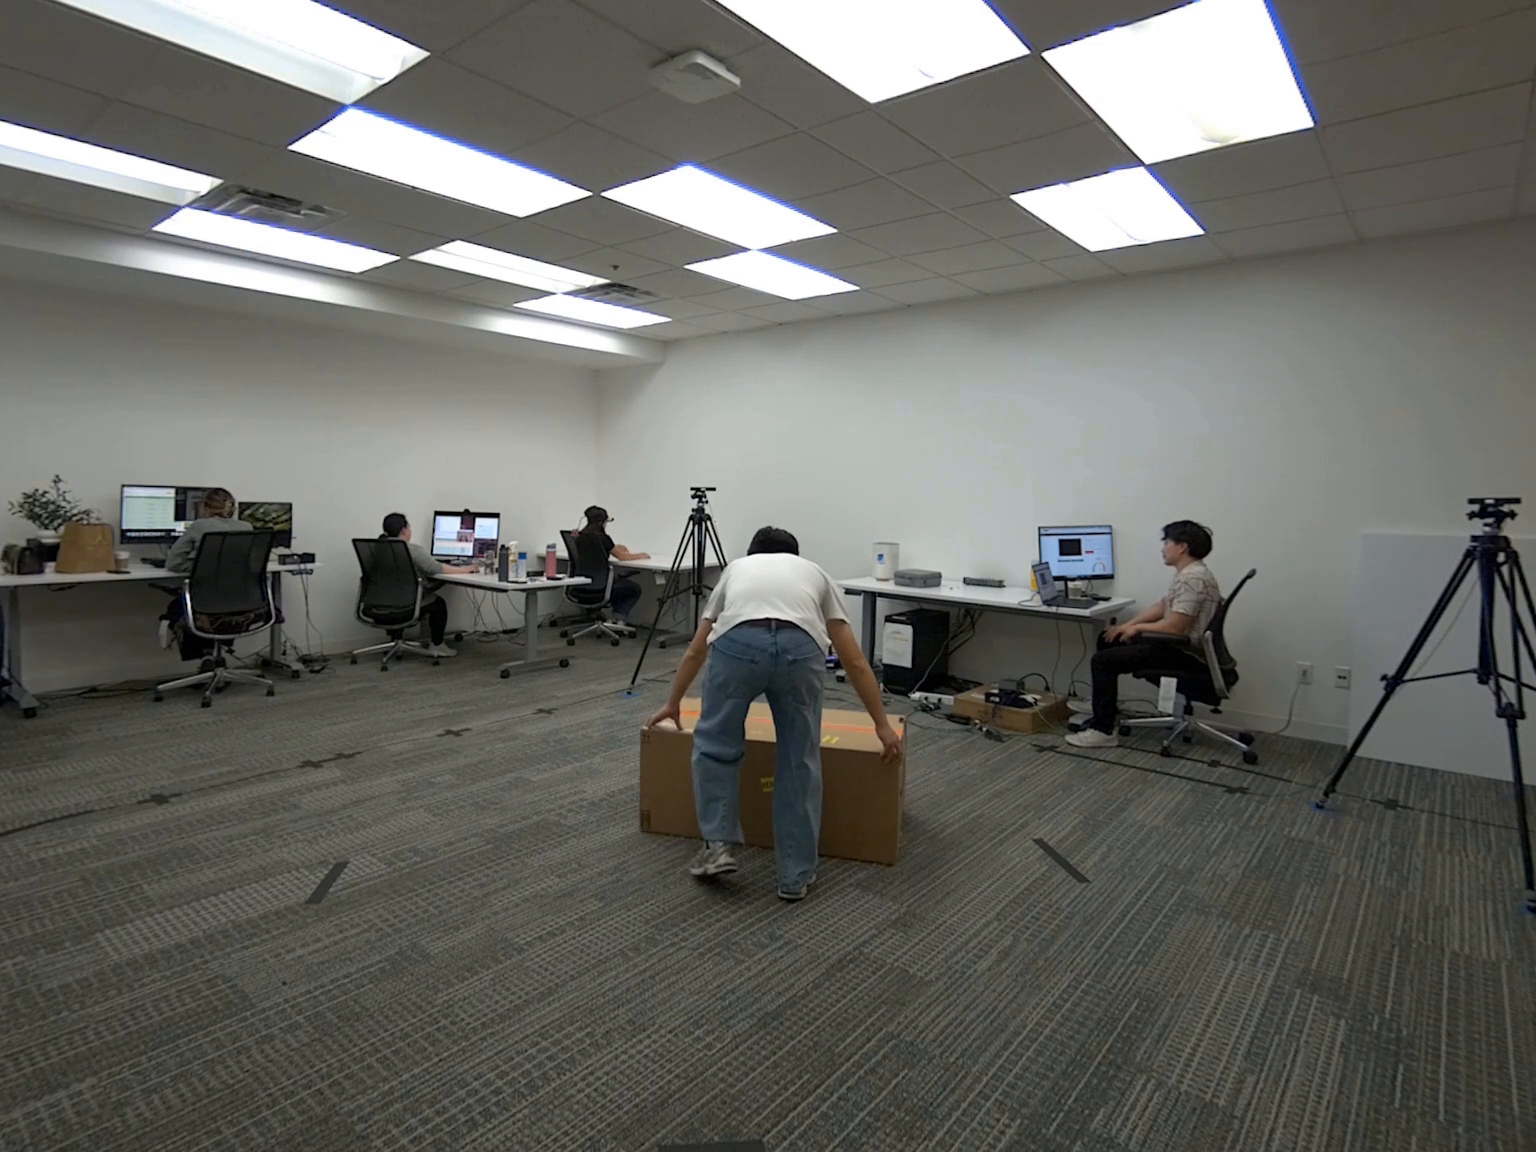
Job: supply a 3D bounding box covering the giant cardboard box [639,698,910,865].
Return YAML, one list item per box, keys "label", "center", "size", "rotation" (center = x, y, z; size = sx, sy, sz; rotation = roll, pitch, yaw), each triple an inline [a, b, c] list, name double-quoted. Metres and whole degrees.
- label: "giant cardboard box"
  center: [0.028, 0.809, 3.558]
  size: [1.043, 0.424, 0.571]
  rotation: [3, 6, 15]
